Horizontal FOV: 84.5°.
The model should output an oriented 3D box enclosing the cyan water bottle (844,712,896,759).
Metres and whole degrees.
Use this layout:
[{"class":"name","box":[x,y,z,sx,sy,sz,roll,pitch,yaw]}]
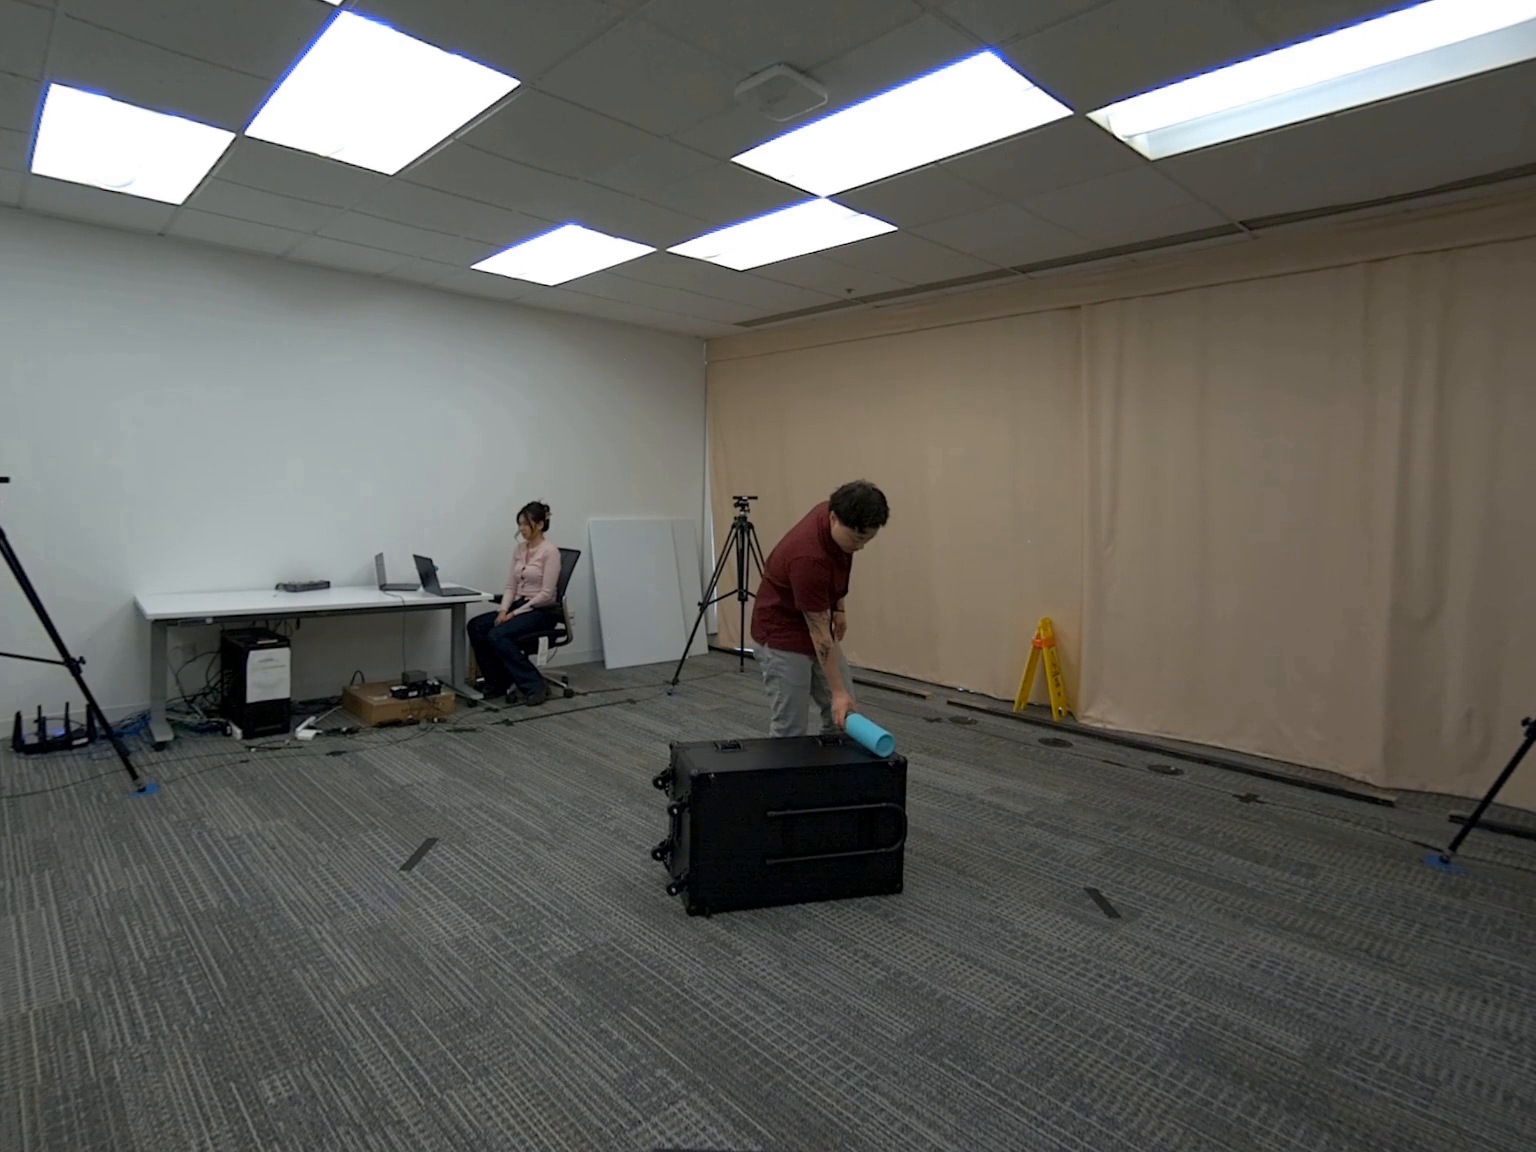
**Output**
[{"class":"cyan water bottle","box":[0.348,0.578,3.098,0.091,0.092,0.289,0,8,-23]}]
